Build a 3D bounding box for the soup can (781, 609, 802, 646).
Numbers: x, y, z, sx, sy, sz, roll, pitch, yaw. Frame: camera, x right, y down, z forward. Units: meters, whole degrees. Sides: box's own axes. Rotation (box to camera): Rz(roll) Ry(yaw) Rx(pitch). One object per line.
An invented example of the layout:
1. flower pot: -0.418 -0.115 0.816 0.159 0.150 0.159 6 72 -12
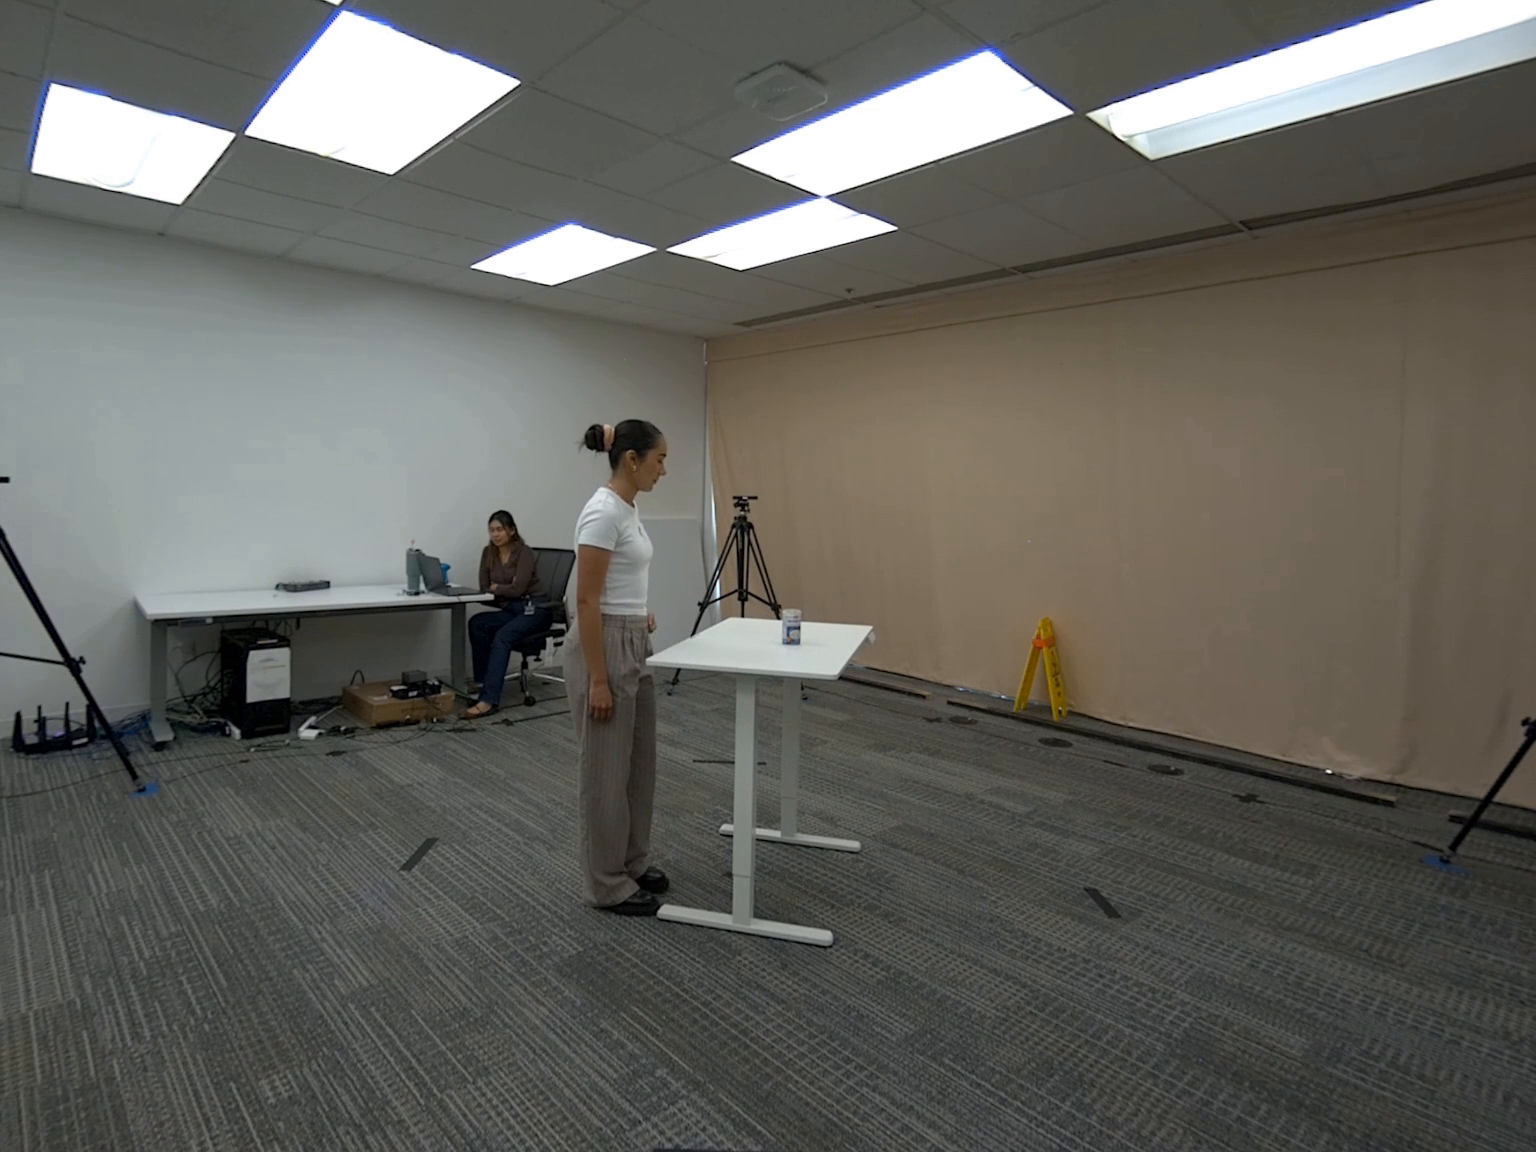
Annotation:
1. soup can: 0.073 0.178 2.964 0.067 0.122 0.067 0 -3 -1
